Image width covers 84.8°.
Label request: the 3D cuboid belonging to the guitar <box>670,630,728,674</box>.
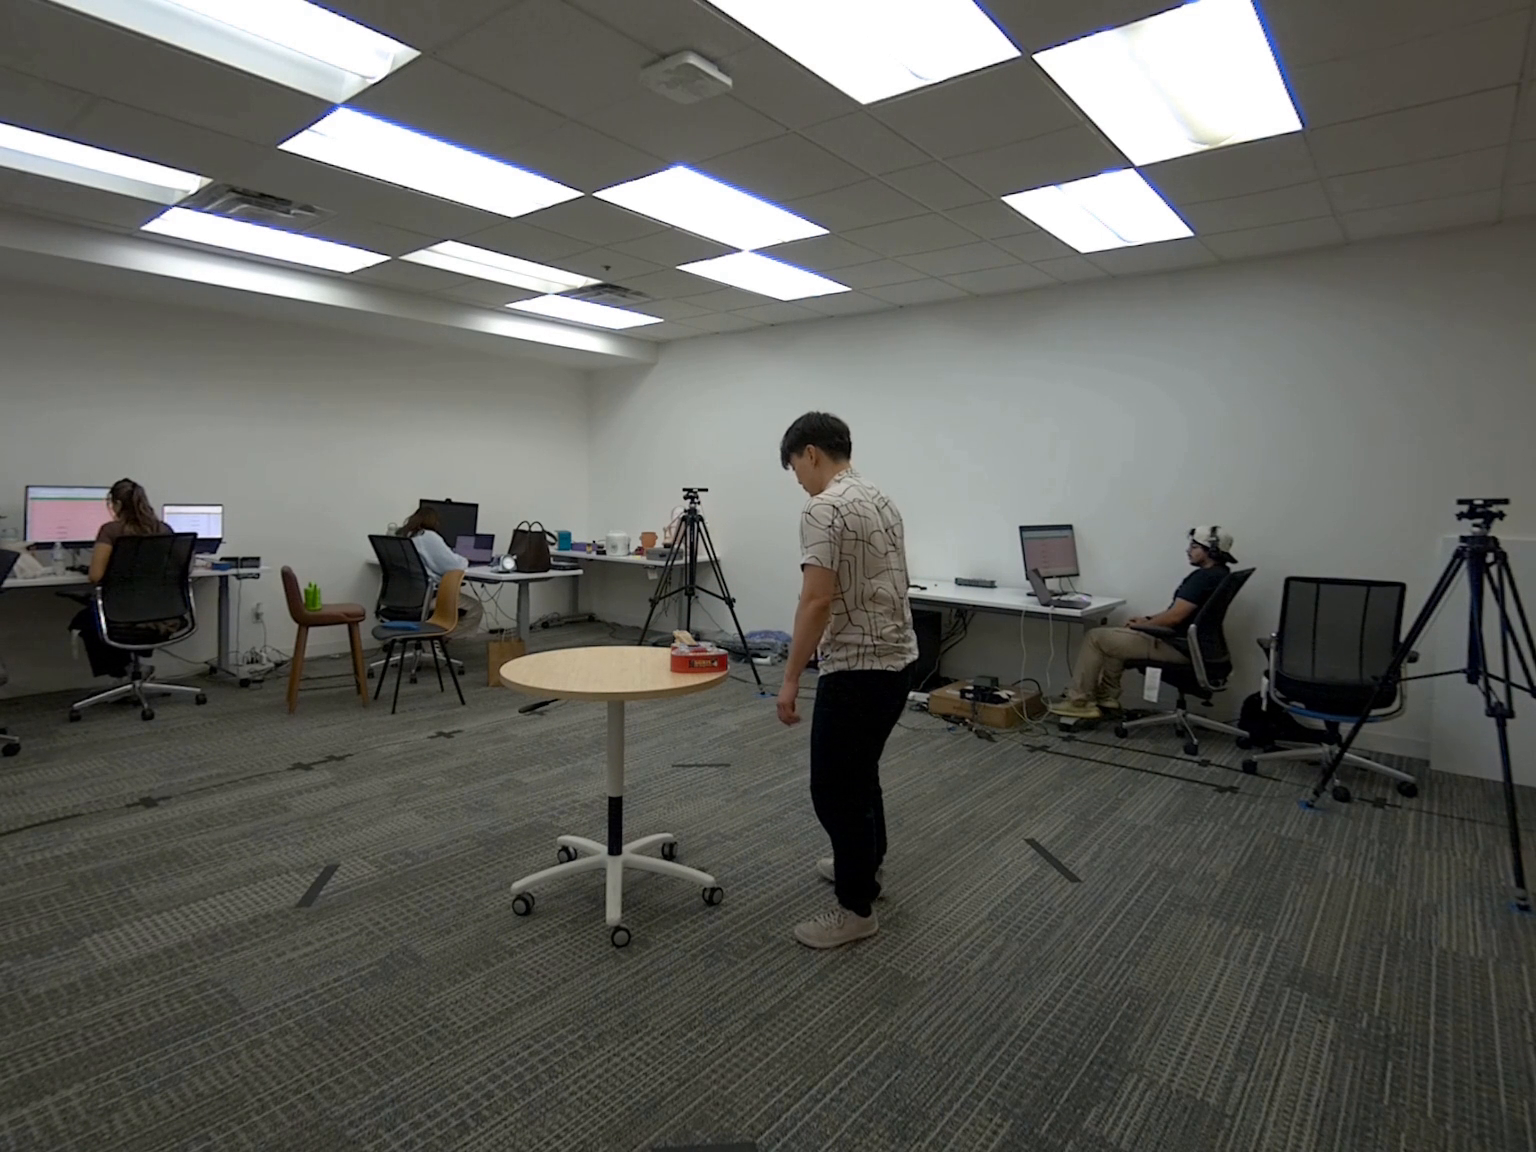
[{"bbox_3d":[-0.256,0.263,3.006,0.192,0.070,0.502,0,5,-5],"label":"guitar"}]
